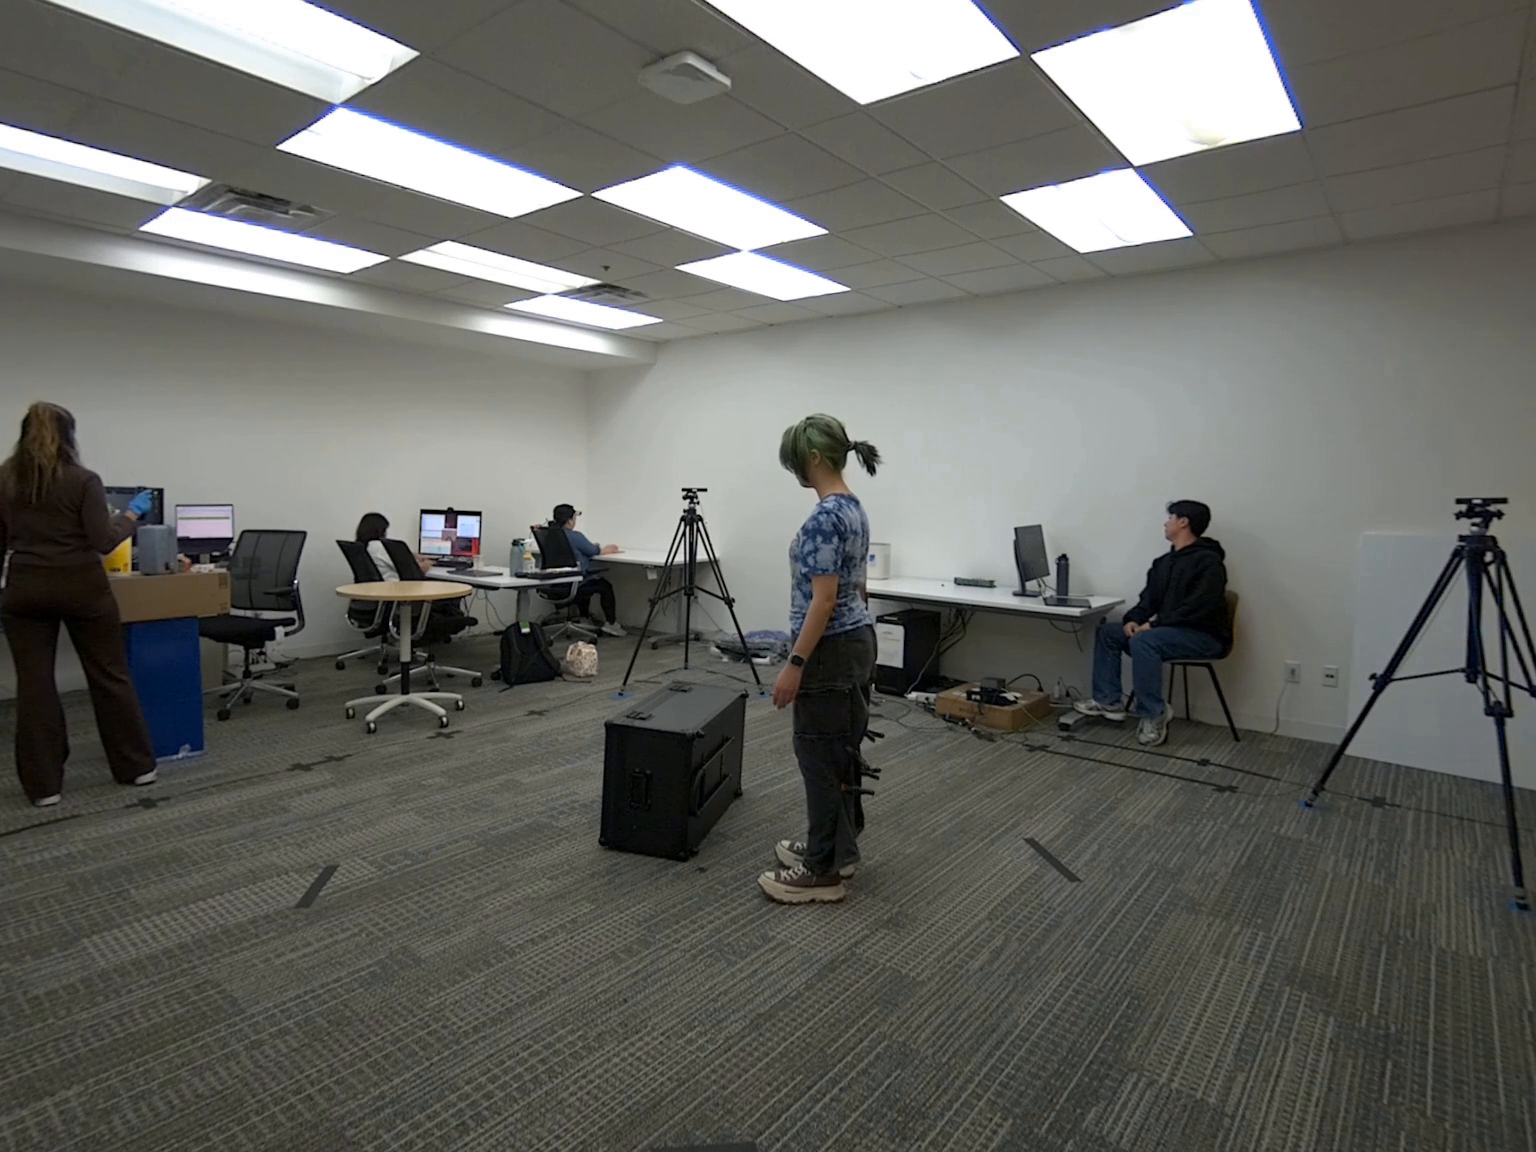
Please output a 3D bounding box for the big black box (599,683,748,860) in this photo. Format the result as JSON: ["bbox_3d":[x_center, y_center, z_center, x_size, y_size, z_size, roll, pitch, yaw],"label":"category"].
[{"bbox_3d":[-0.359,0.763,3.593,0.403,0.519,0.851,5,6,14],"label":"big black box"}]
